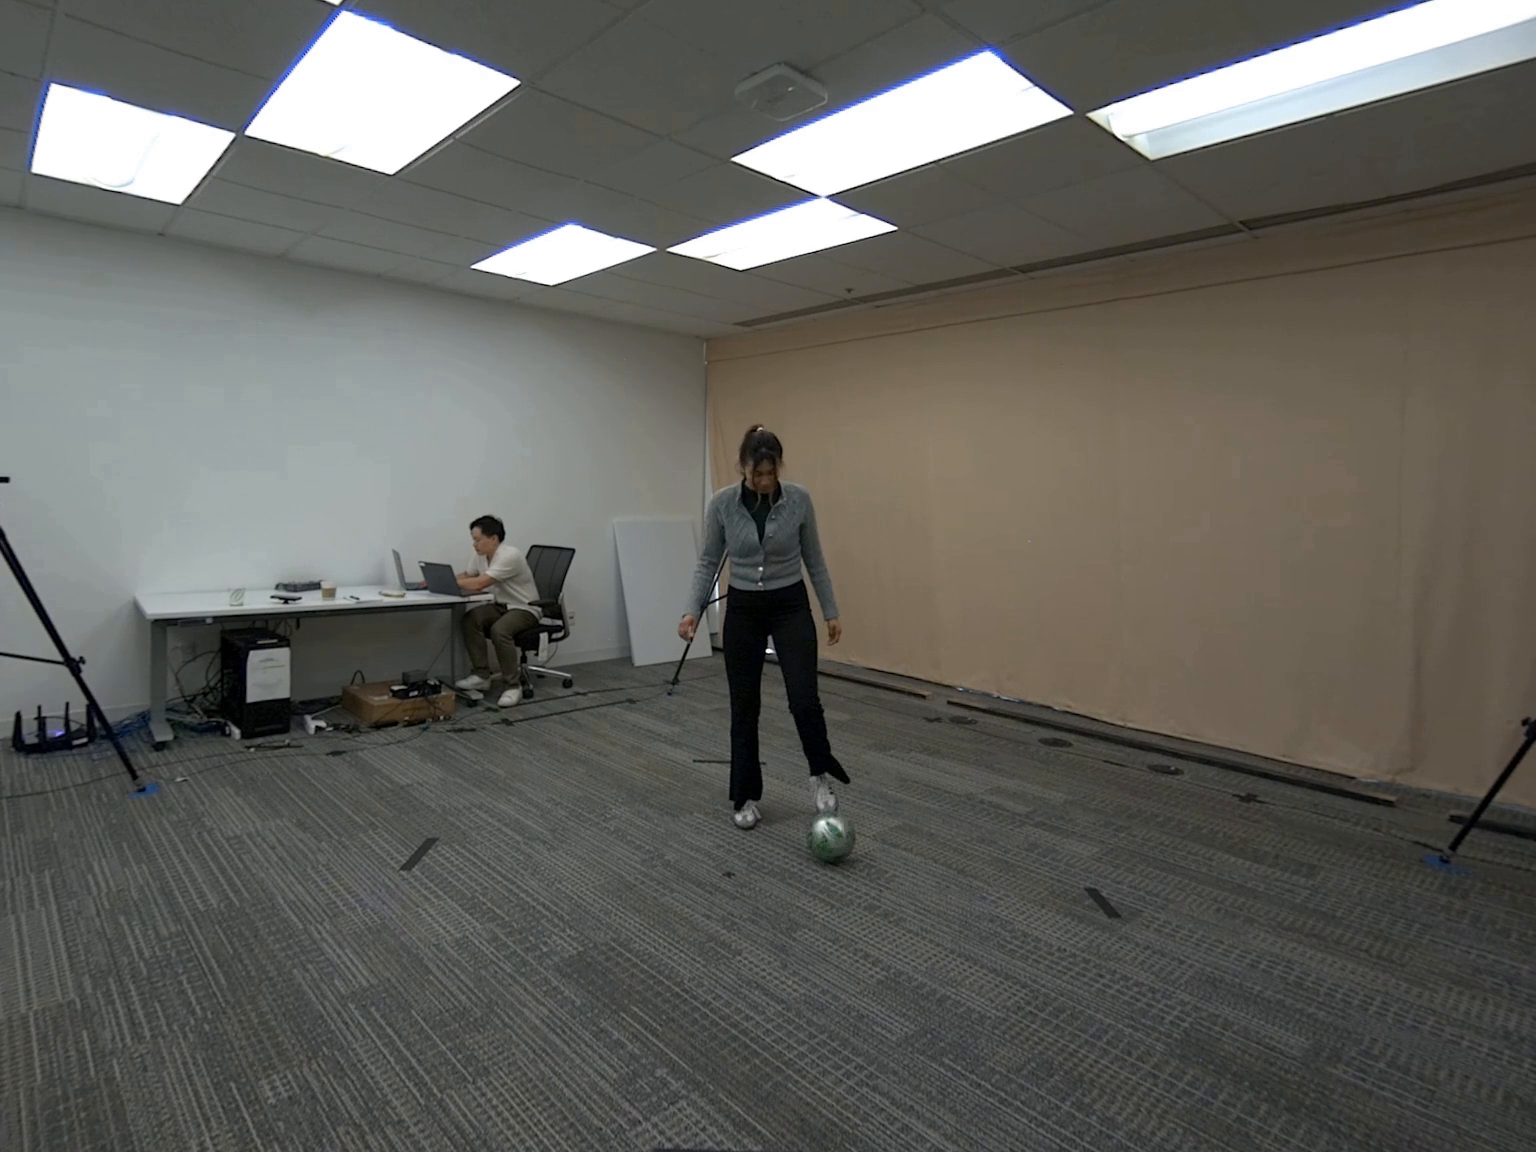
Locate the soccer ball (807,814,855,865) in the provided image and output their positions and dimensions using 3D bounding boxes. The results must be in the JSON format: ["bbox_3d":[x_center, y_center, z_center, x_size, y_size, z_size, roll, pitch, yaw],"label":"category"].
[{"bbox_3d":[0.227,0.990,3.229,0.187,0.187,0.188,1,4,-1],"label":"soccer ball"}]
